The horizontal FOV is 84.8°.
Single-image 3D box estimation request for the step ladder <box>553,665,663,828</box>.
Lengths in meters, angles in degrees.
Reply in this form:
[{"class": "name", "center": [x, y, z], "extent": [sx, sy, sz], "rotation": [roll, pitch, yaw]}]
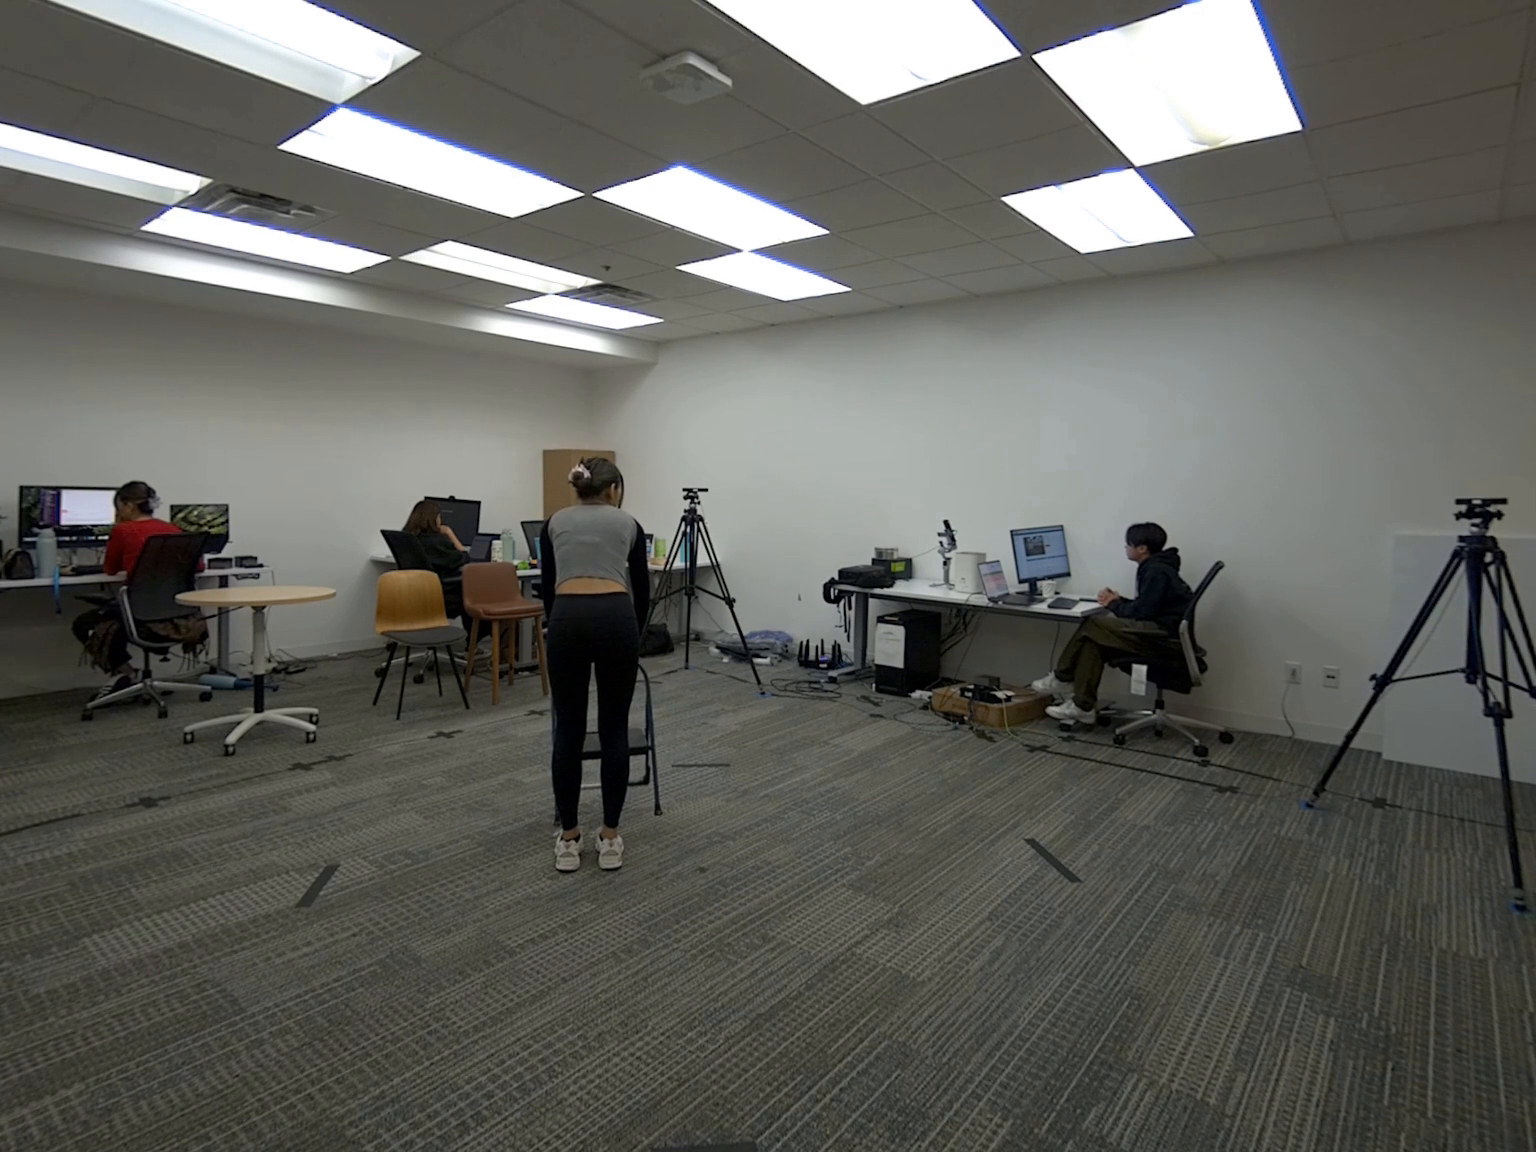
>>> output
[{"class": "step ladder", "center": [-0.683, 0.635, 3.487], "extent": [0.425, 0.603, 0.356], "rotation": [-2, 6, -14]}]
